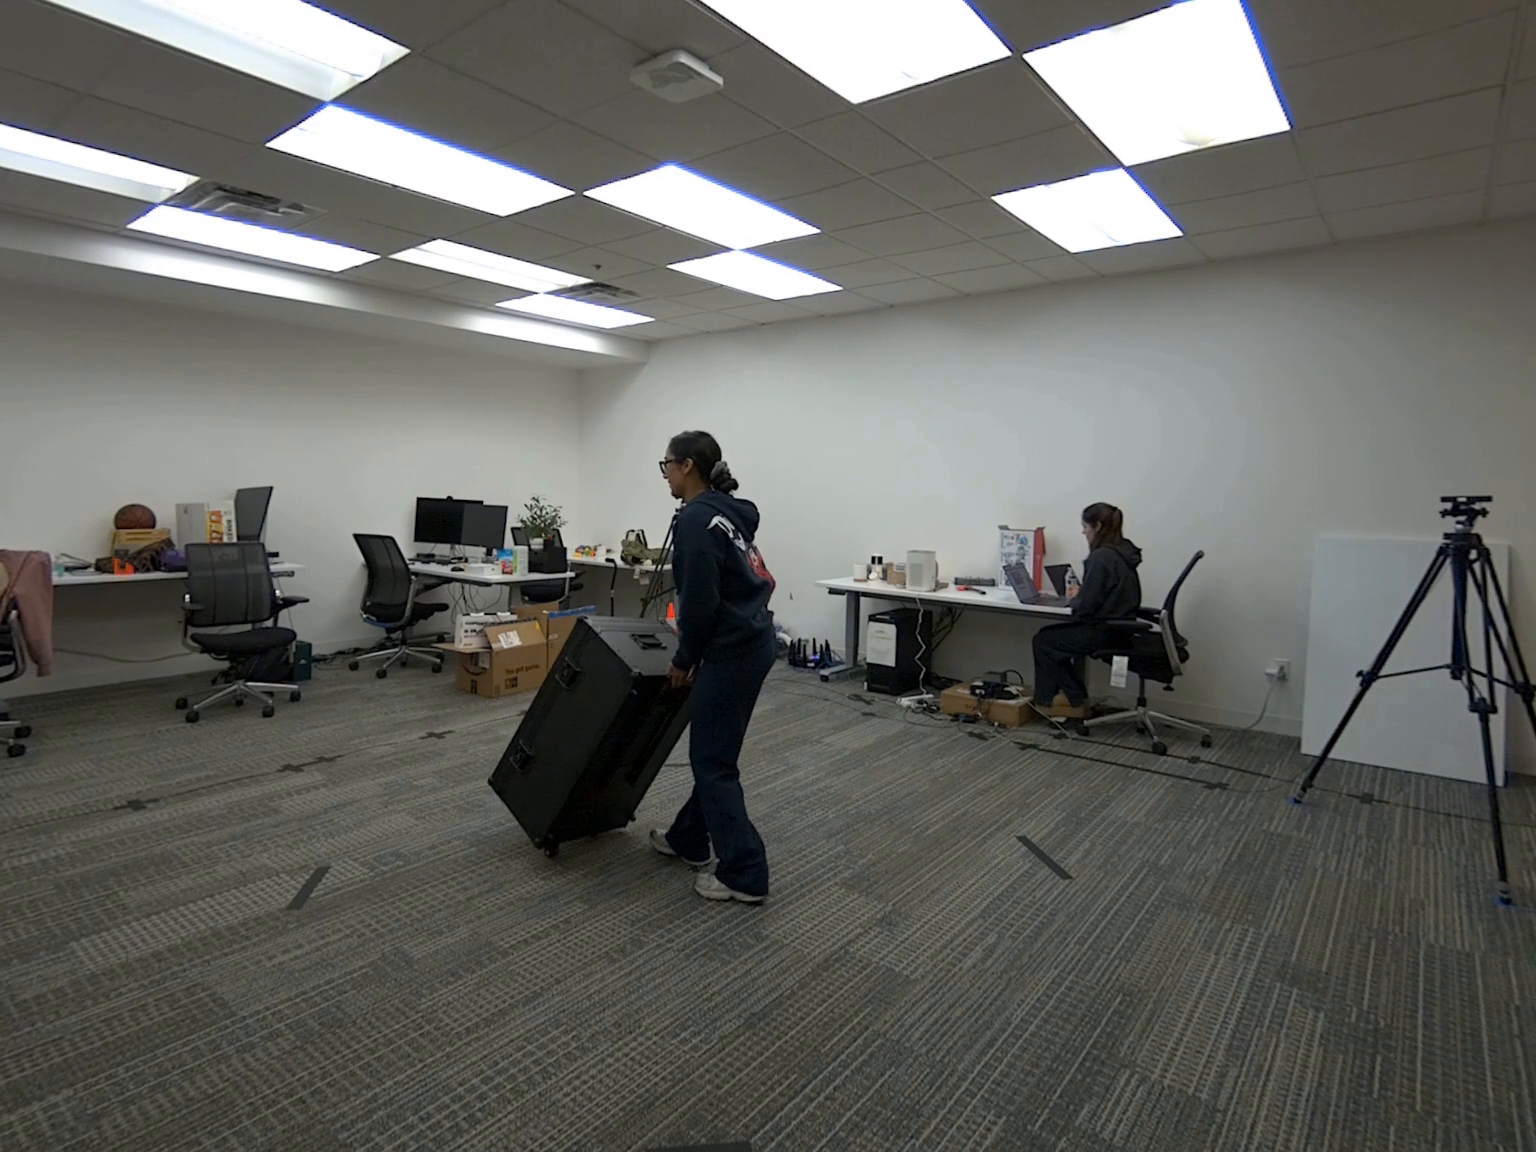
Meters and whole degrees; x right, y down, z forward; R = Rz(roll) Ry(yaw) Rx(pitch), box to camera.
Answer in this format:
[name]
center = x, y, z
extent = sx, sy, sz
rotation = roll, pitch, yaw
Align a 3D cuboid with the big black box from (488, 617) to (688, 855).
[big black box]
center = -0.652, 0.614, 3.254
extent = 0.411, 0.858, 0.504
rotation = 40, 16, 29
